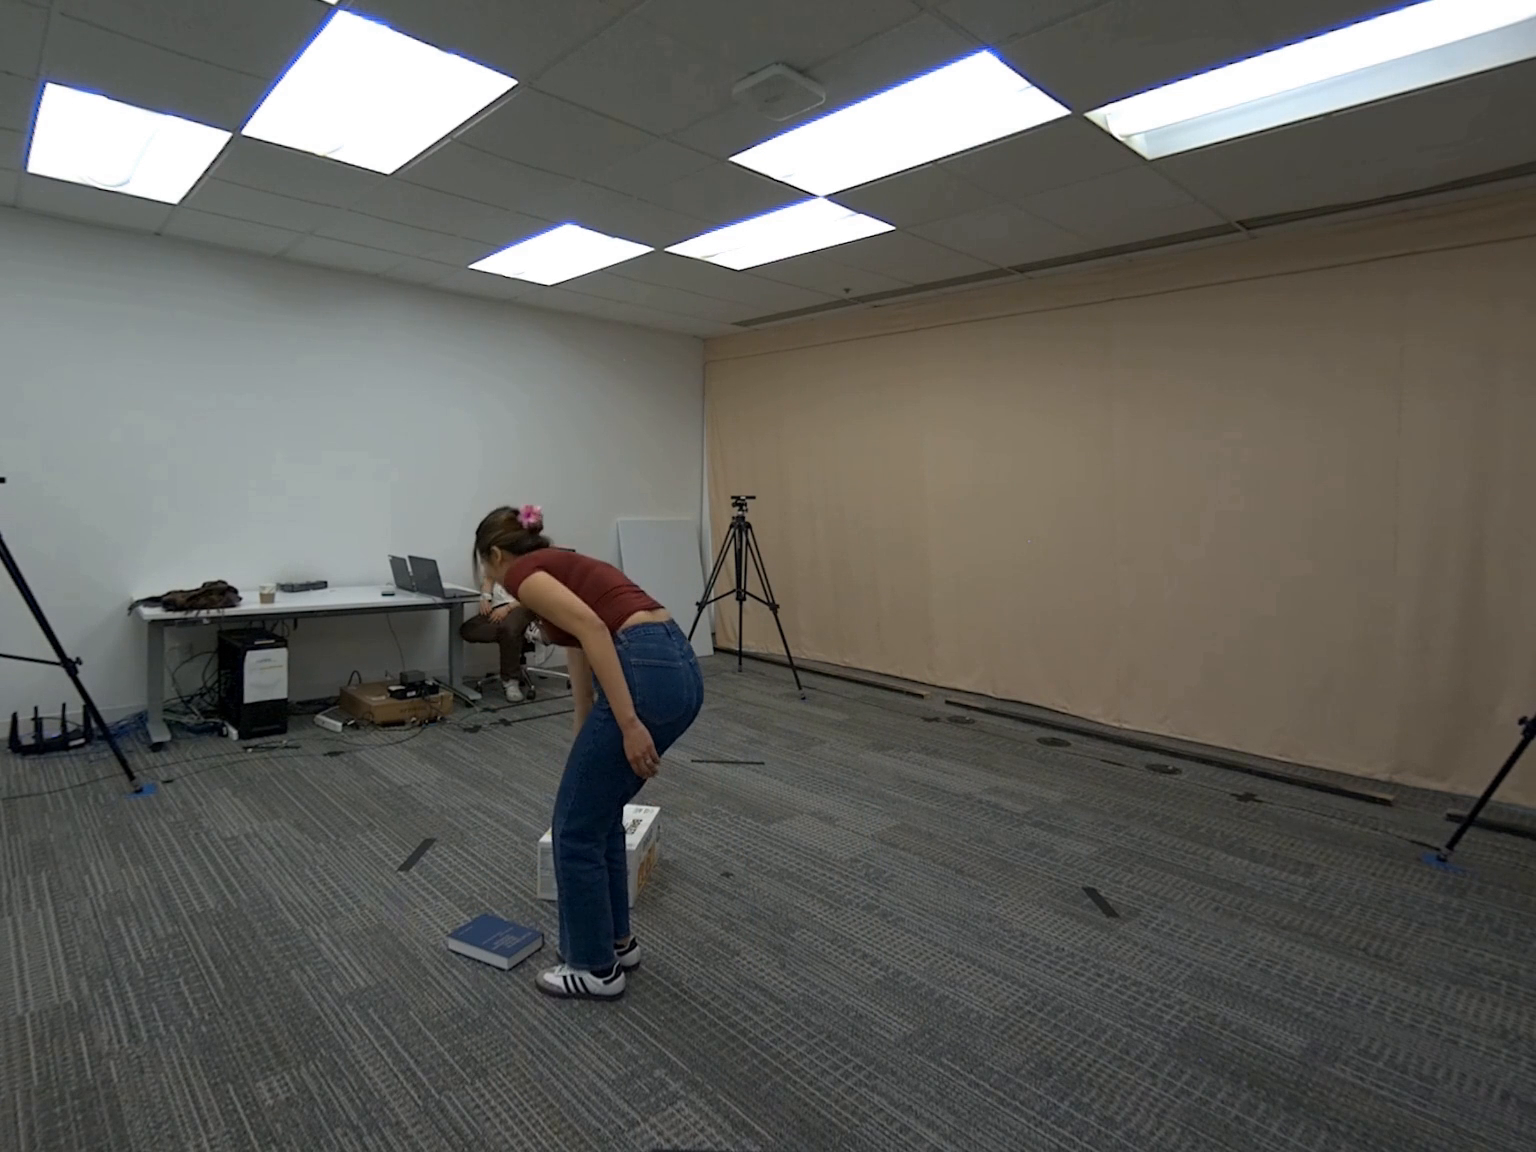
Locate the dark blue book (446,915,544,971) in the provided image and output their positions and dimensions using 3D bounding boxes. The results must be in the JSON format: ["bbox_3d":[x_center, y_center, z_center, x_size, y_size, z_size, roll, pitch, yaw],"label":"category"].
[{"bbox_3d":[-0.839,1.118,2.558,0.250,0.045,0.160,5,7,27],"label":"dark blue book"}]
